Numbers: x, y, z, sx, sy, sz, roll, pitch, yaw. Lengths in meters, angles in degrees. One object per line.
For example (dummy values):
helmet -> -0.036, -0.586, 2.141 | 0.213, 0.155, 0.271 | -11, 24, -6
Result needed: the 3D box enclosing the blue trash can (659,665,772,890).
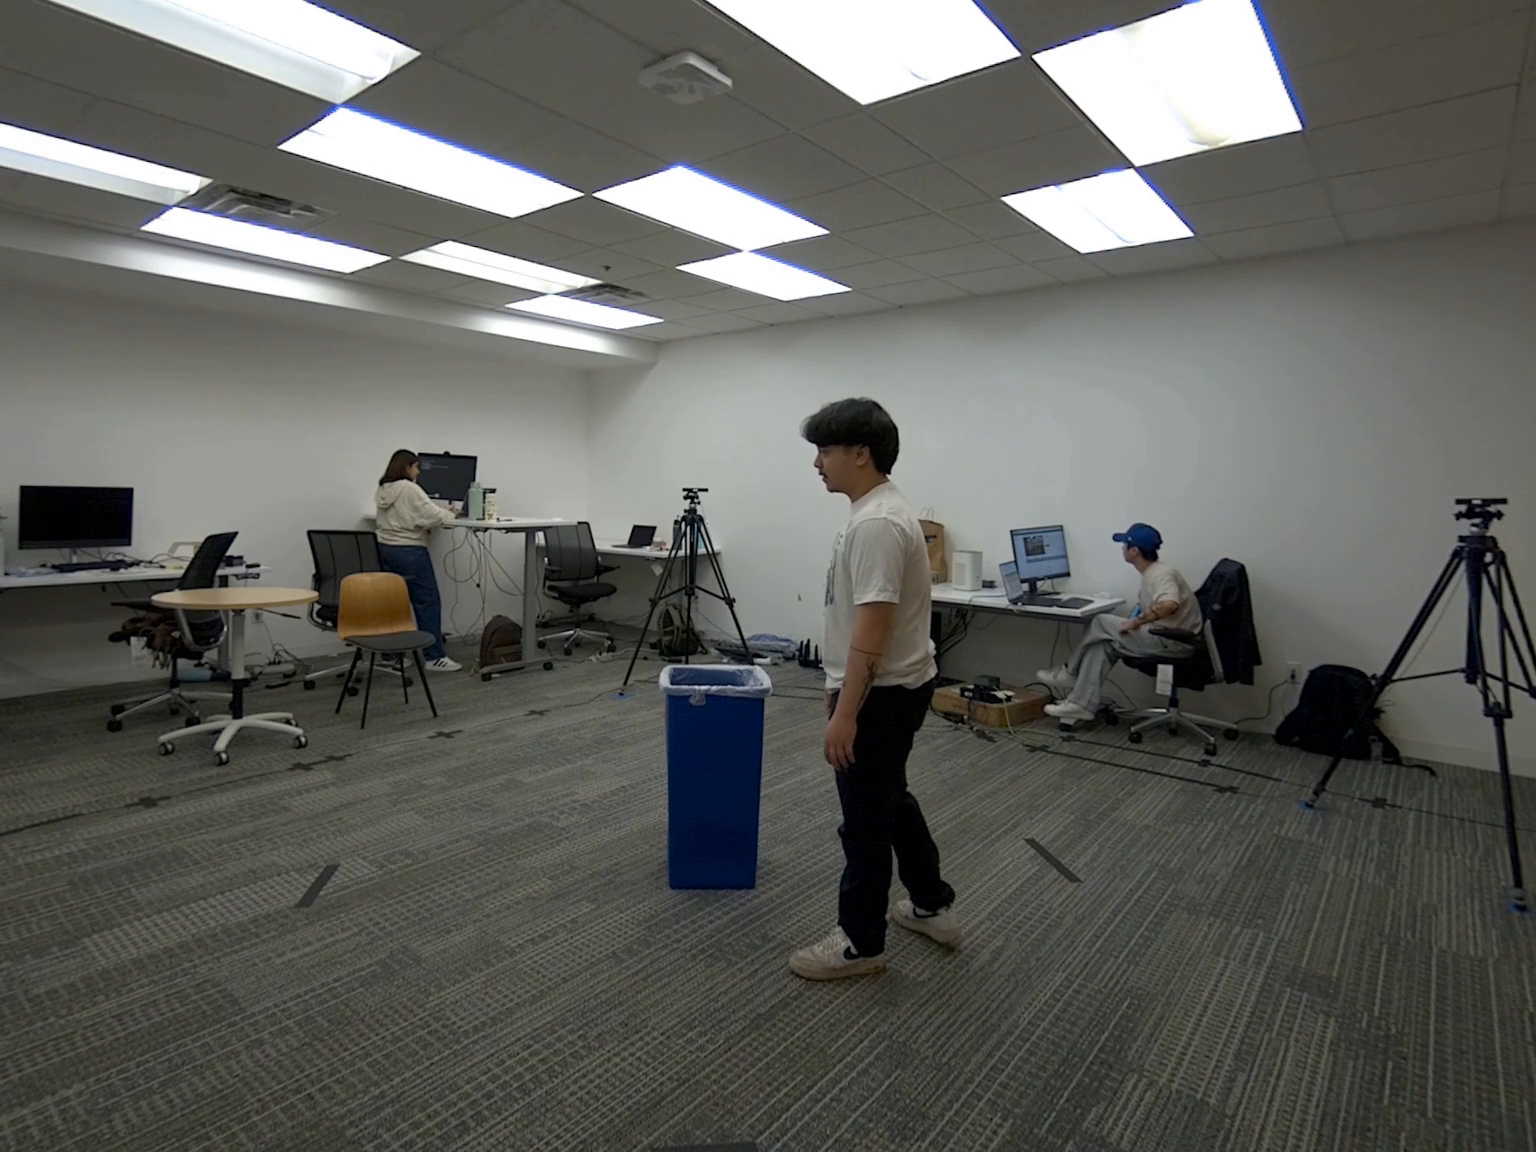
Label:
blue trash can -> -0.212, 0.715, 3.092 | 0.377, 0.711, 0.377 | 1, 3, -4
